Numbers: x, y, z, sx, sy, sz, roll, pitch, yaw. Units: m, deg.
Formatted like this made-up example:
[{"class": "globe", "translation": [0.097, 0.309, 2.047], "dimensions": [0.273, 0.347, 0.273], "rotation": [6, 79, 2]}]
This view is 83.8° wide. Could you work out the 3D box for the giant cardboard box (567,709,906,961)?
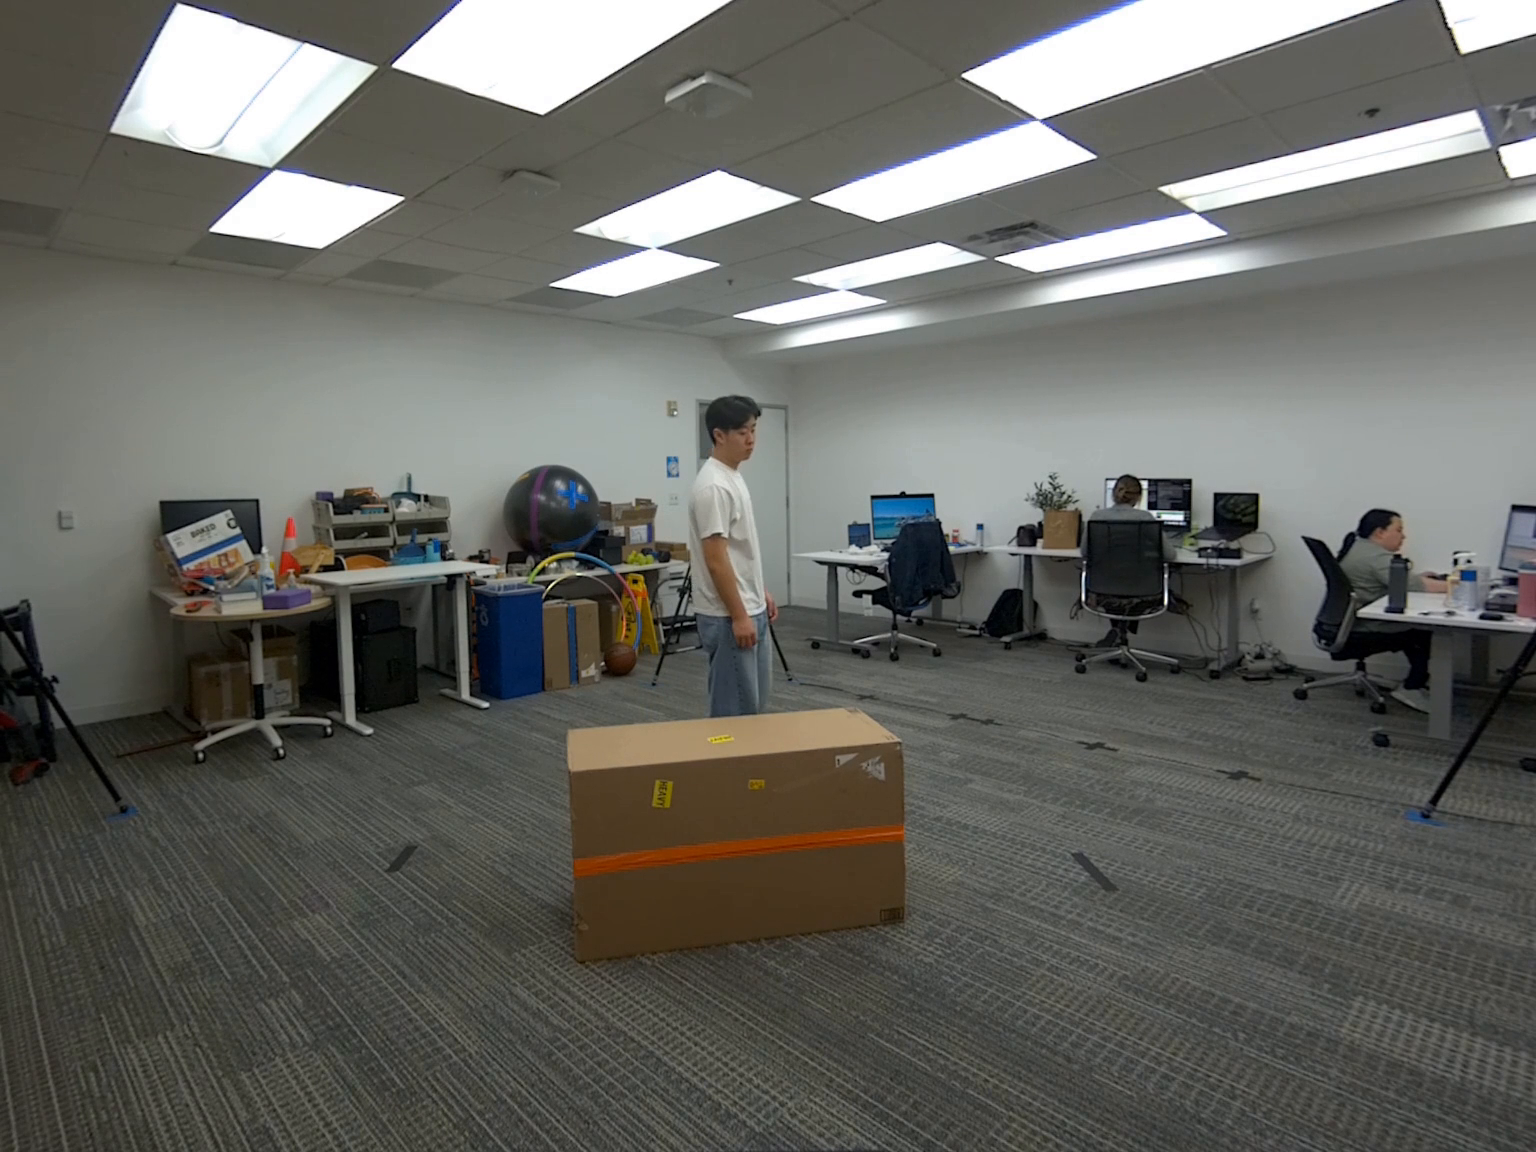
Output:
[{"class": "giant cardboard box", "translation": [-0.118, 0.797, 2.763], "dimensions": [1.015, 0.575, 0.432], "rotation": [-2, 4, -12]}]
